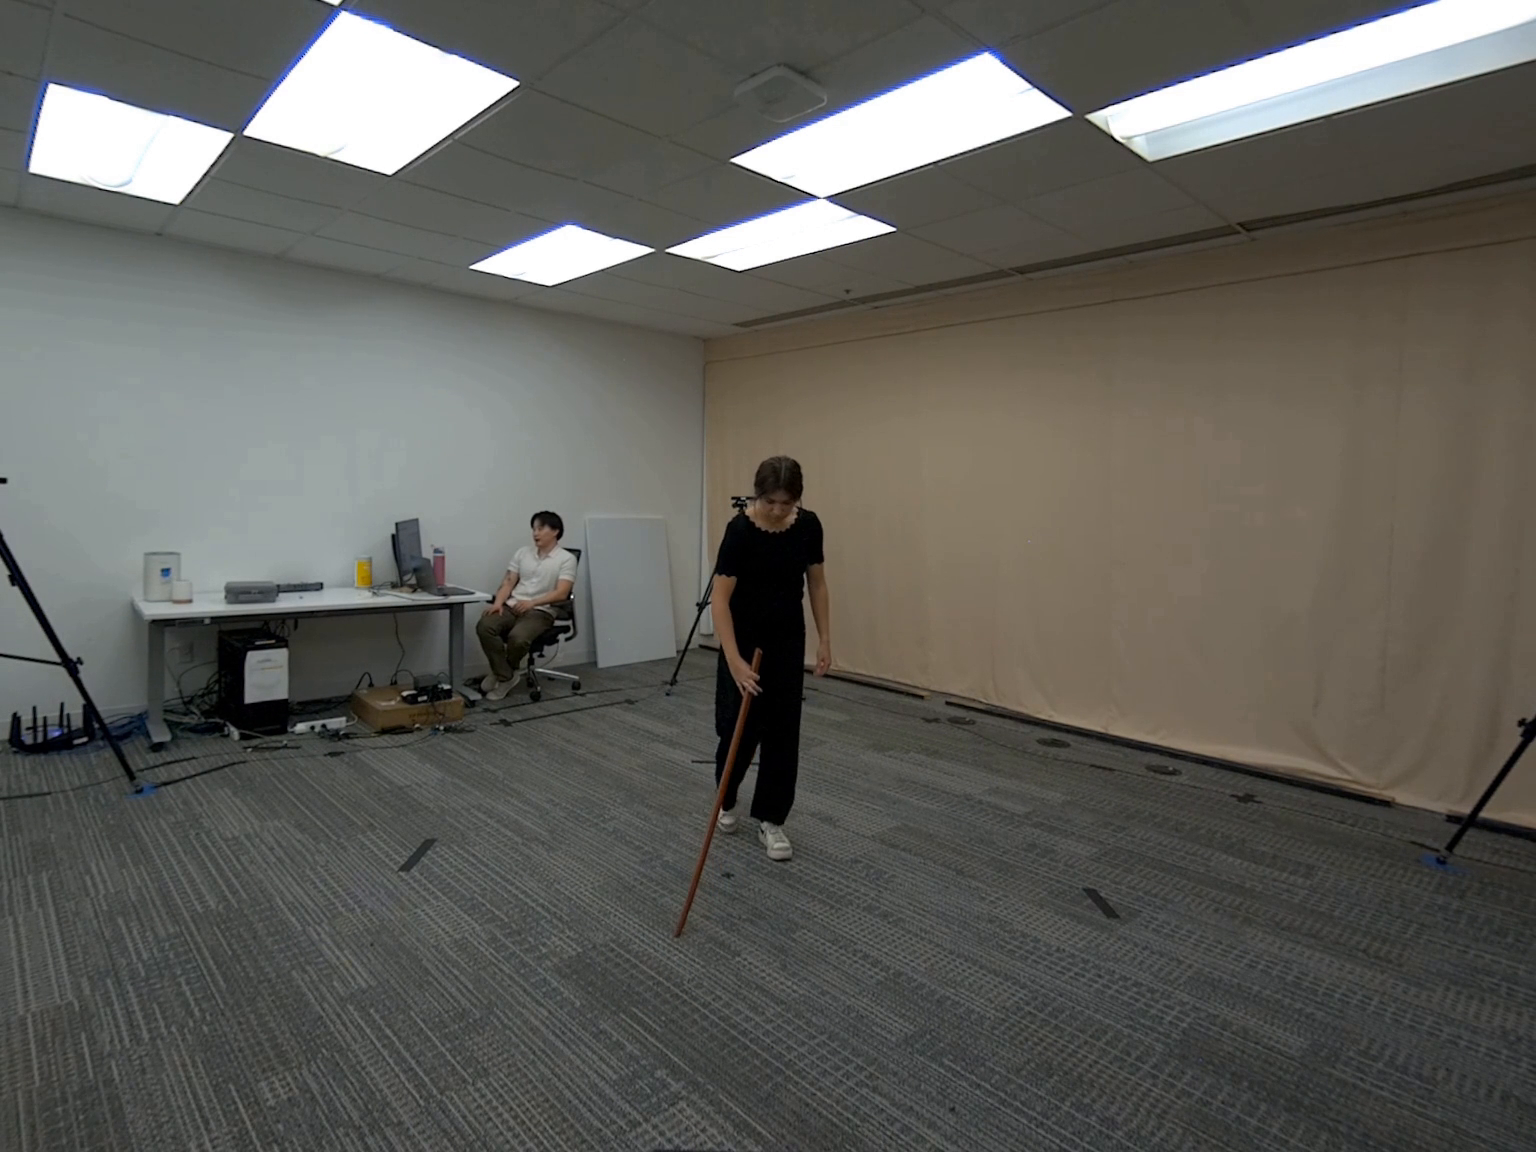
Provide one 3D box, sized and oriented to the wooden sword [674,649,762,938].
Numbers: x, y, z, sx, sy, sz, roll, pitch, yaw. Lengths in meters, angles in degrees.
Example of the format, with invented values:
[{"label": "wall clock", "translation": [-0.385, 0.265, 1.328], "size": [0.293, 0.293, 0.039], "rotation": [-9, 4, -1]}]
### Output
[{"label": "wooden sword", "translation": [-0.161, 0.731, 2.925], "size": [0.024, 1.037, 0.050], "rotation": [11, -32, 11]}]
